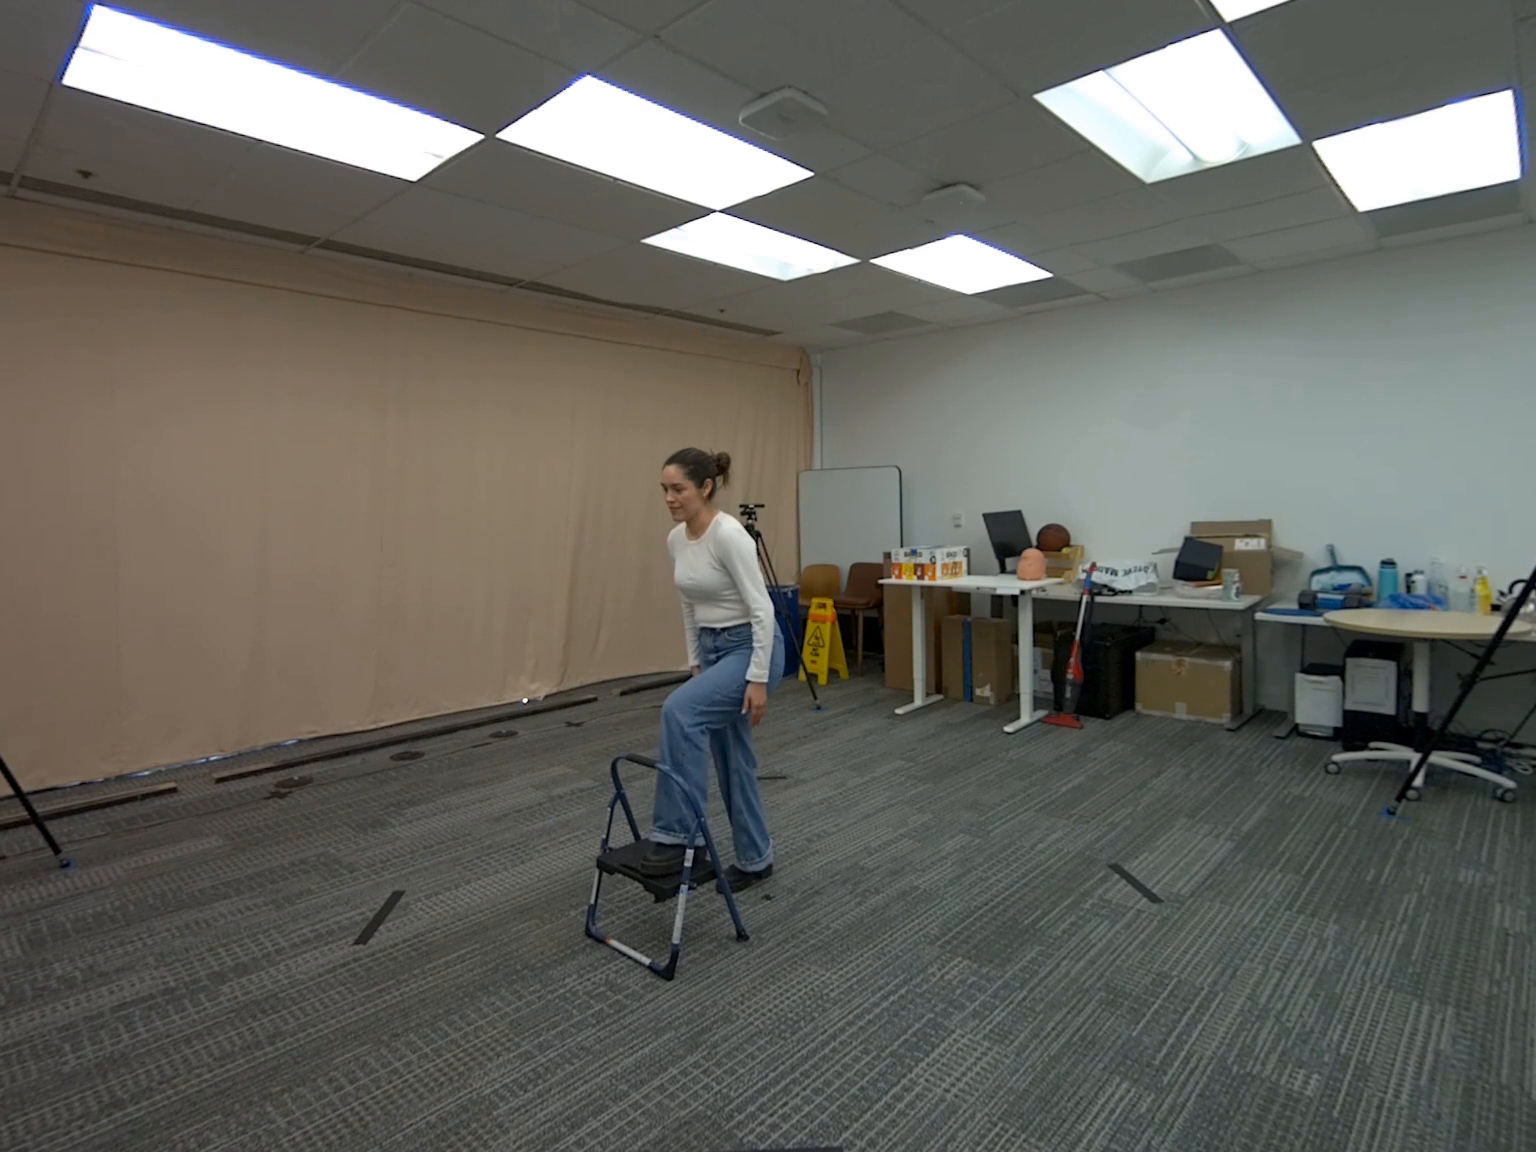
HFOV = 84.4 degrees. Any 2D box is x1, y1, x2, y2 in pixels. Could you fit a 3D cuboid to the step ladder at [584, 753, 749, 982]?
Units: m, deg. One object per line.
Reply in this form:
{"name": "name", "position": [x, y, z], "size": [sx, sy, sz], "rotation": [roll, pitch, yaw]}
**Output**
{"name": "step ladder", "position": [-0.337, 0.867, 2.716], "size": [0.445, 0.605, 0.339], "rotation": [2, 4, 42]}
